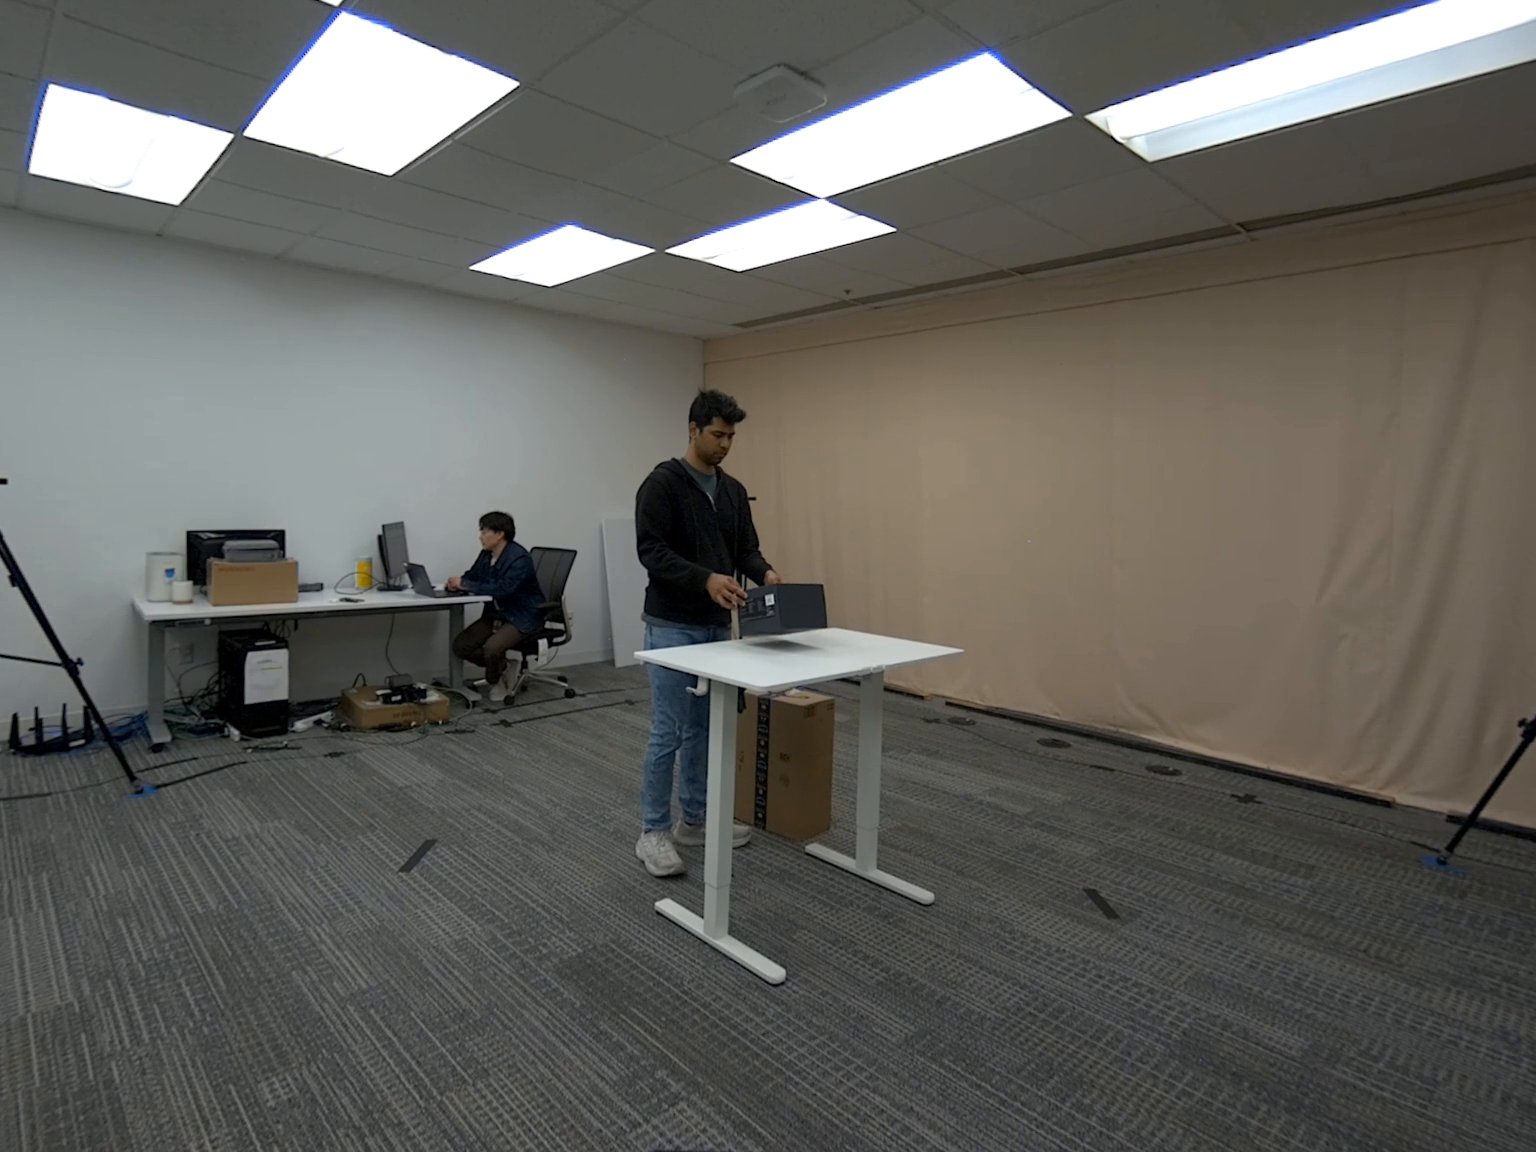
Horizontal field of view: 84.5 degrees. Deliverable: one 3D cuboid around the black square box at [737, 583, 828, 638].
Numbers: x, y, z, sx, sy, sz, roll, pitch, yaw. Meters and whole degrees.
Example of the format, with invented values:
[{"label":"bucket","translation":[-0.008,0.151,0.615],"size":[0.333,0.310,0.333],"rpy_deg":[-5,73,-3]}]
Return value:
[{"label":"black square box","translation":[0.048,0.119,2.942],"size":[0.222,0.157,0.221],"rpy_deg":[2,-11,-43]}]
